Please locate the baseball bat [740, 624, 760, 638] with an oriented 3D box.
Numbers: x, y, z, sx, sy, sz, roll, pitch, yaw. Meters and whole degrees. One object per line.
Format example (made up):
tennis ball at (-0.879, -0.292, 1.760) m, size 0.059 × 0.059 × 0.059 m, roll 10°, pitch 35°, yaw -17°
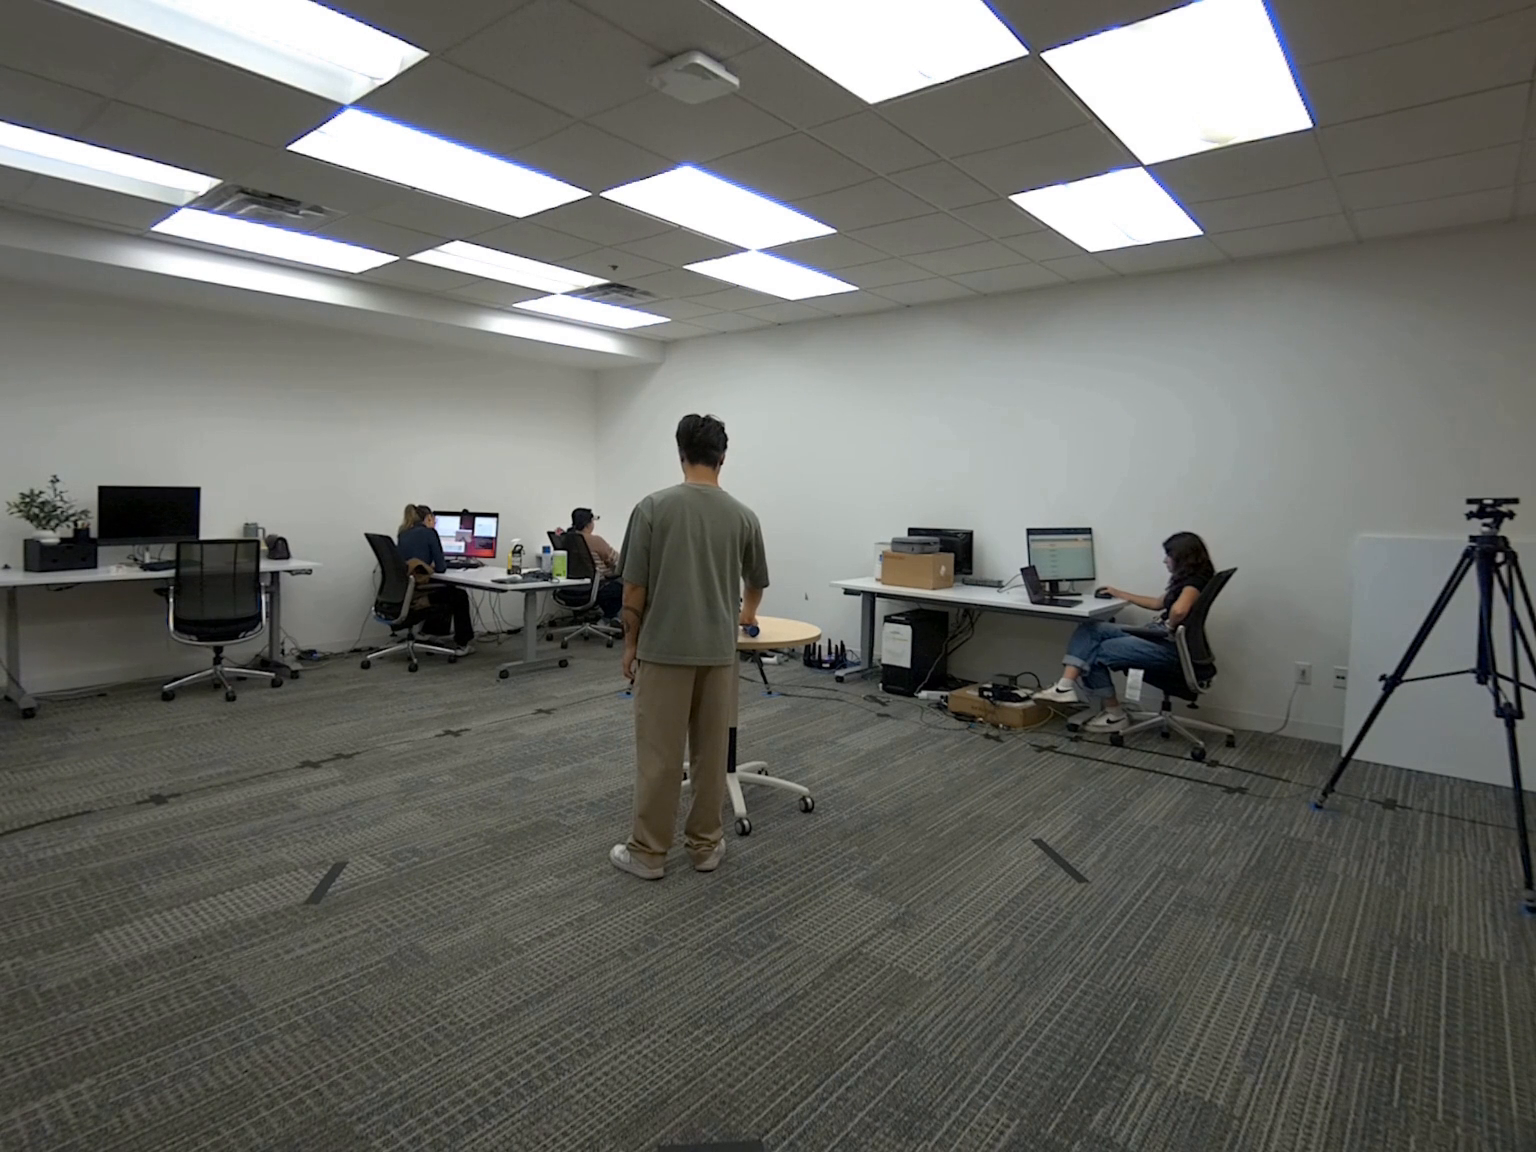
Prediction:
baseball bat at (-0.158, 0.183, 3.730) m, size 0.087 × 0.088 × 0.558 m, roll -1°, pitch 9°, yaw -22°
